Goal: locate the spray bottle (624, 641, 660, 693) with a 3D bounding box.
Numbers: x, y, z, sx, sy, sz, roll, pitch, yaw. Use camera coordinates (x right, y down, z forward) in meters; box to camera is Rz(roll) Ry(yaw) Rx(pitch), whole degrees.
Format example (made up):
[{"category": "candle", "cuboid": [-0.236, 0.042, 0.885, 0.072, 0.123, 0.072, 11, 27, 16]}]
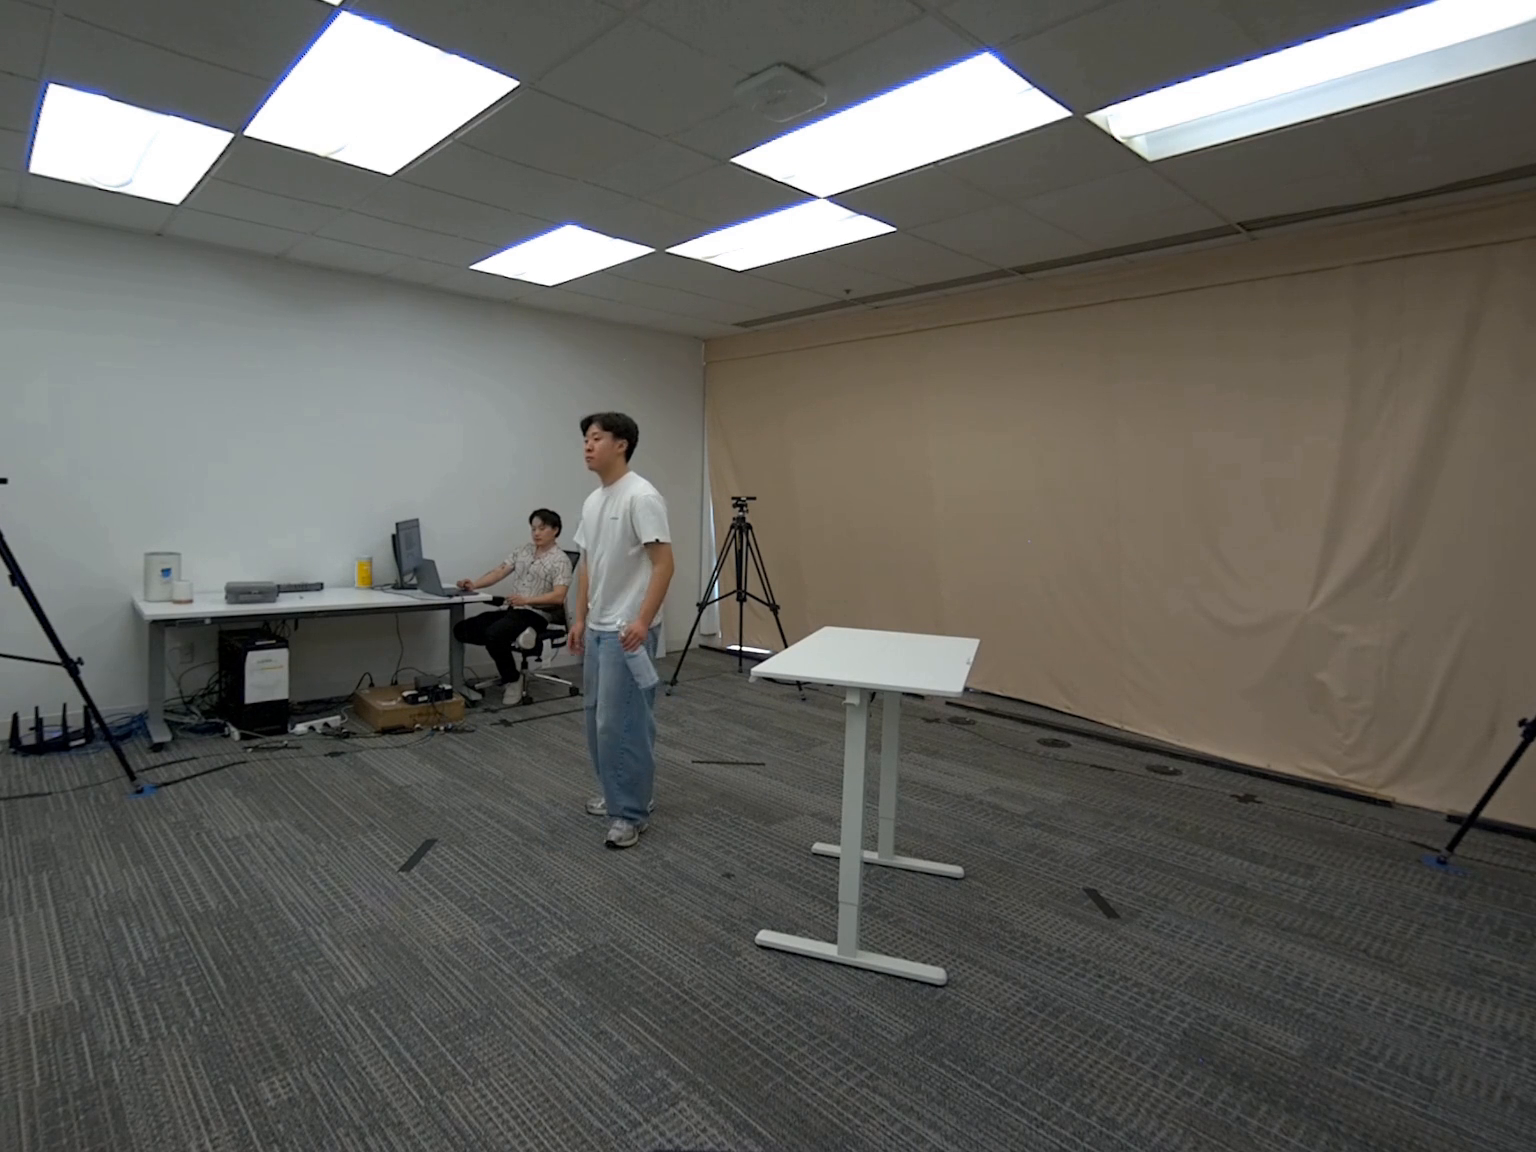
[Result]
[{"category": "spray bottle", "cuboid": [-0.531, 0.318, 3.265, 0.088, 0.294, 0.090, -15, 12, 27]}]
